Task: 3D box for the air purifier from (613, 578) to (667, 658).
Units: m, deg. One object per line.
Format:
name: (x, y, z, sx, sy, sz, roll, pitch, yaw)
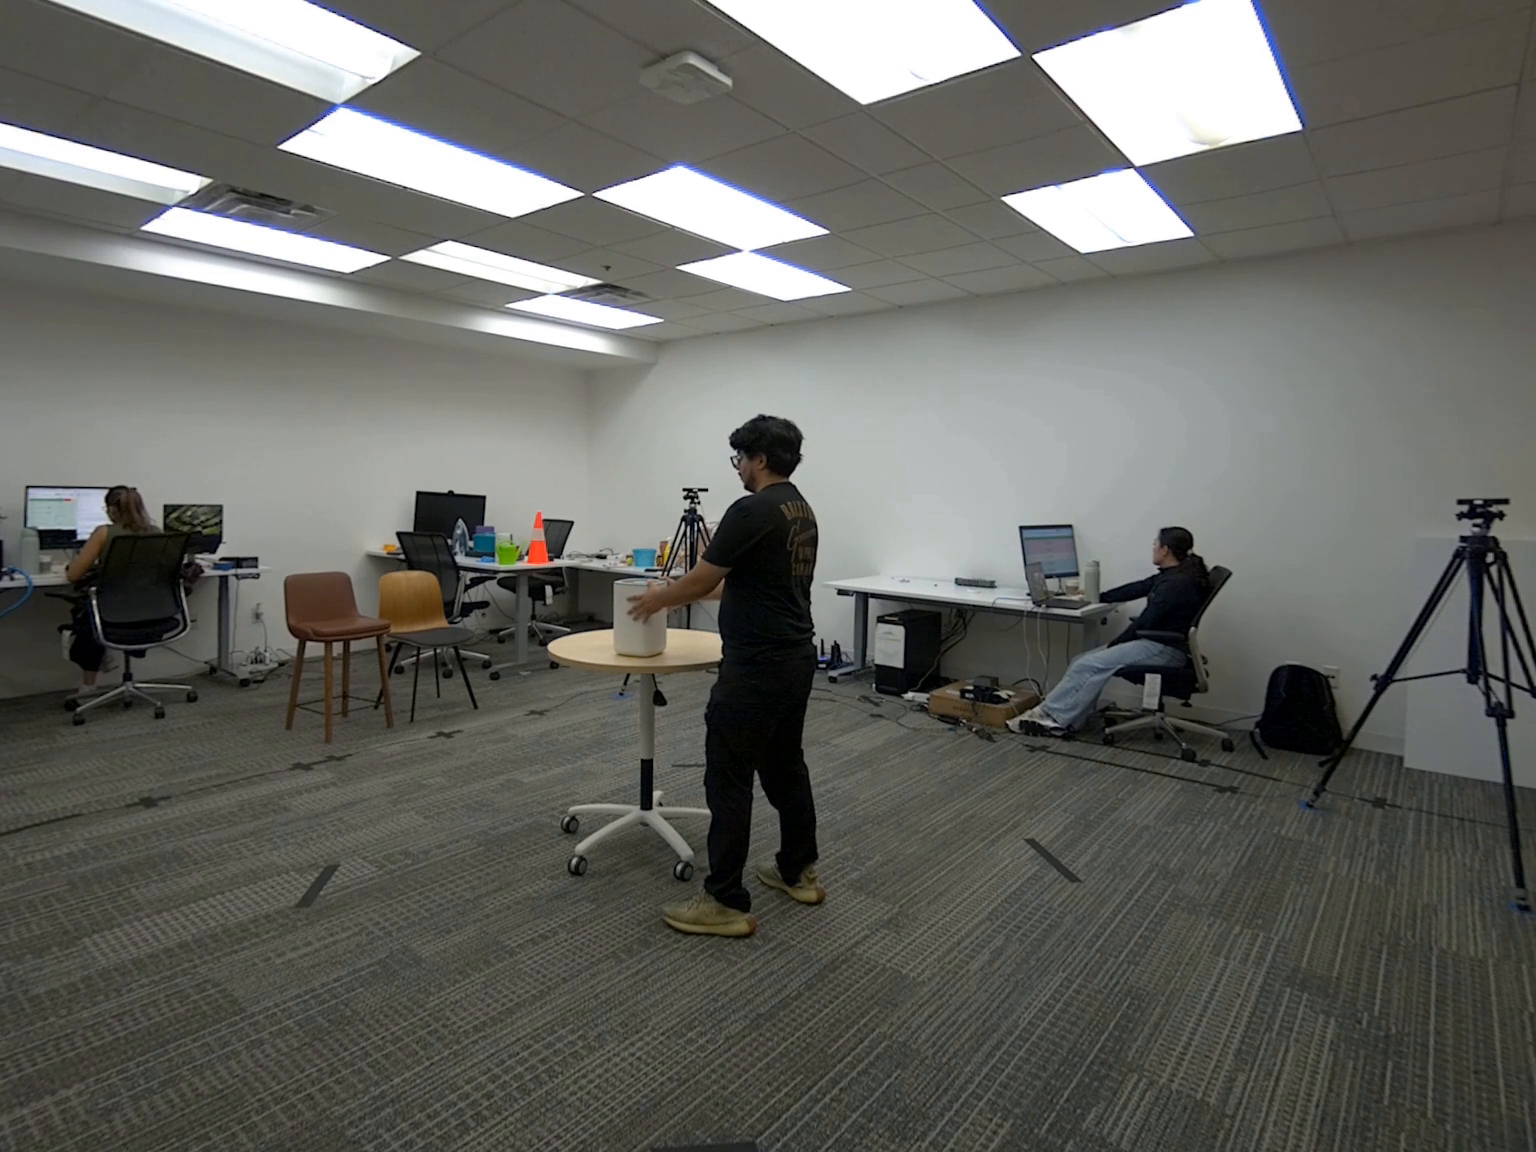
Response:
air purifier: (-0.476, 0.149, 3.118, 0.175, 0.264, 0.168, 2, 5, 21)
